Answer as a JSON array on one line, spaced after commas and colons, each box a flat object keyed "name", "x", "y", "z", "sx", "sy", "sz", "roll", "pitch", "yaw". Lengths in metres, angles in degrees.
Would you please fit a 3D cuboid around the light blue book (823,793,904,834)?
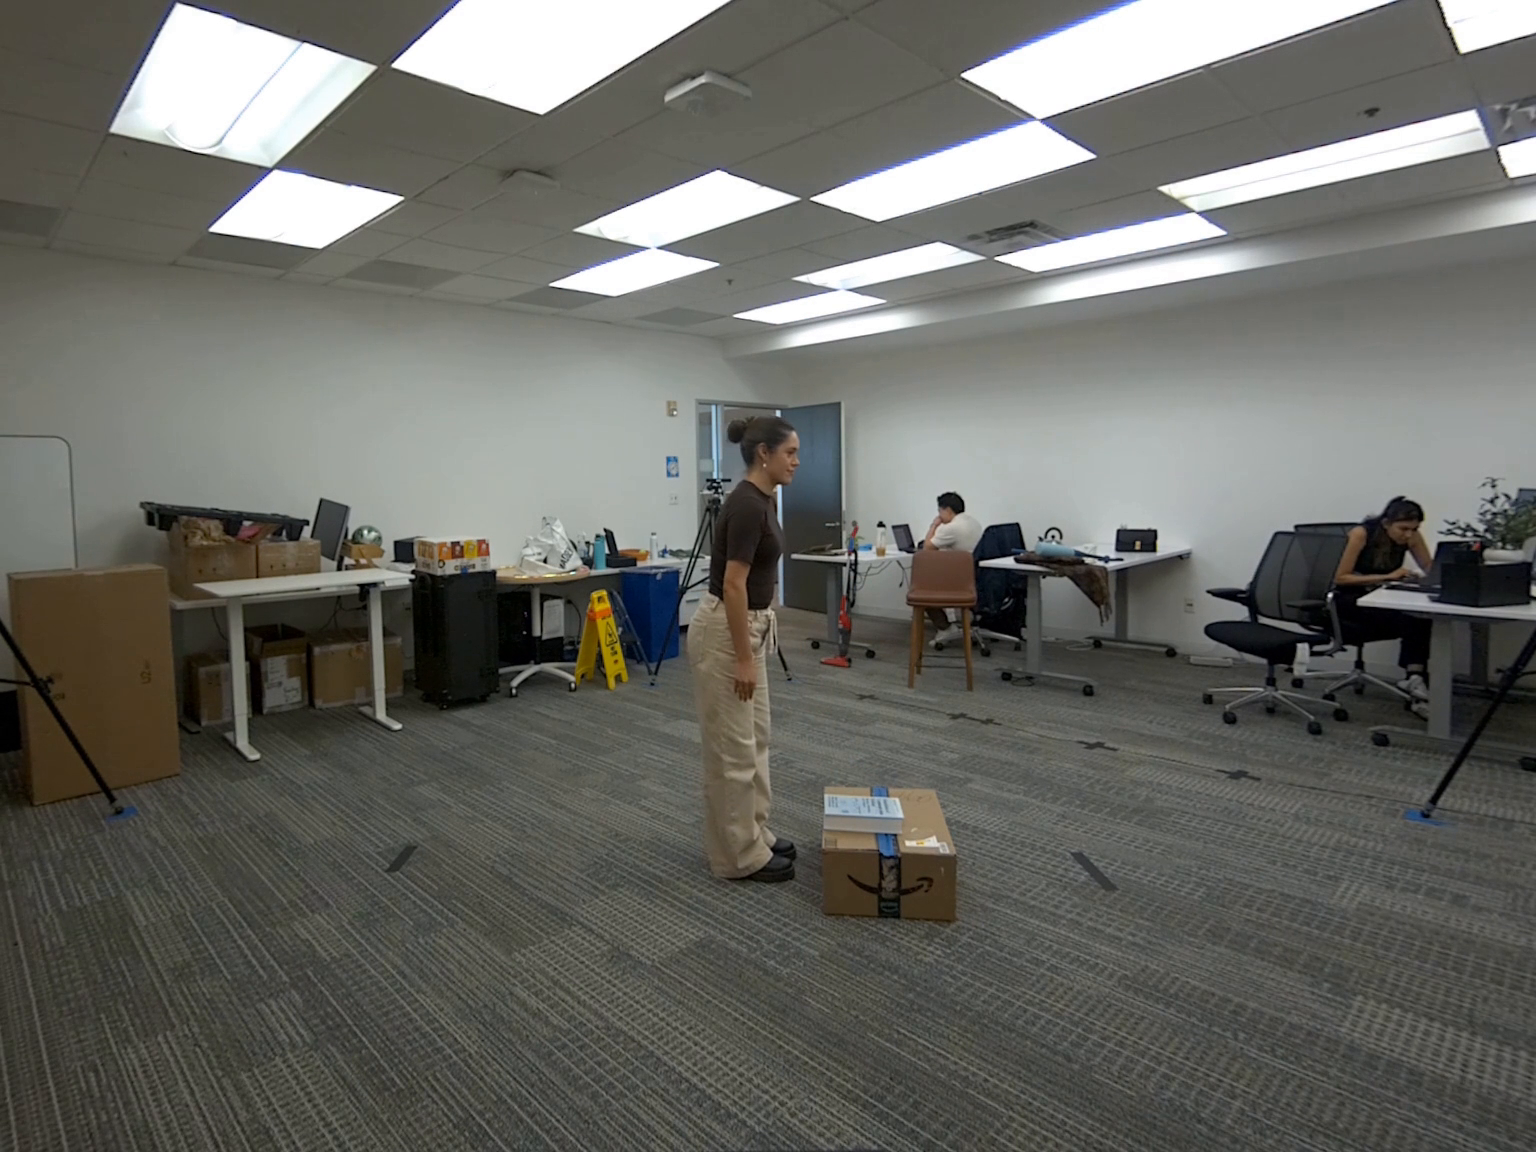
[{"name": "light blue book", "x": 0.326, "y": 0.812, "z": 2.941, "sx": 0.263, "sy": 0.059, "sz": 0.191, "roll": 1, "pitch": 5, "yaw": 6}]
